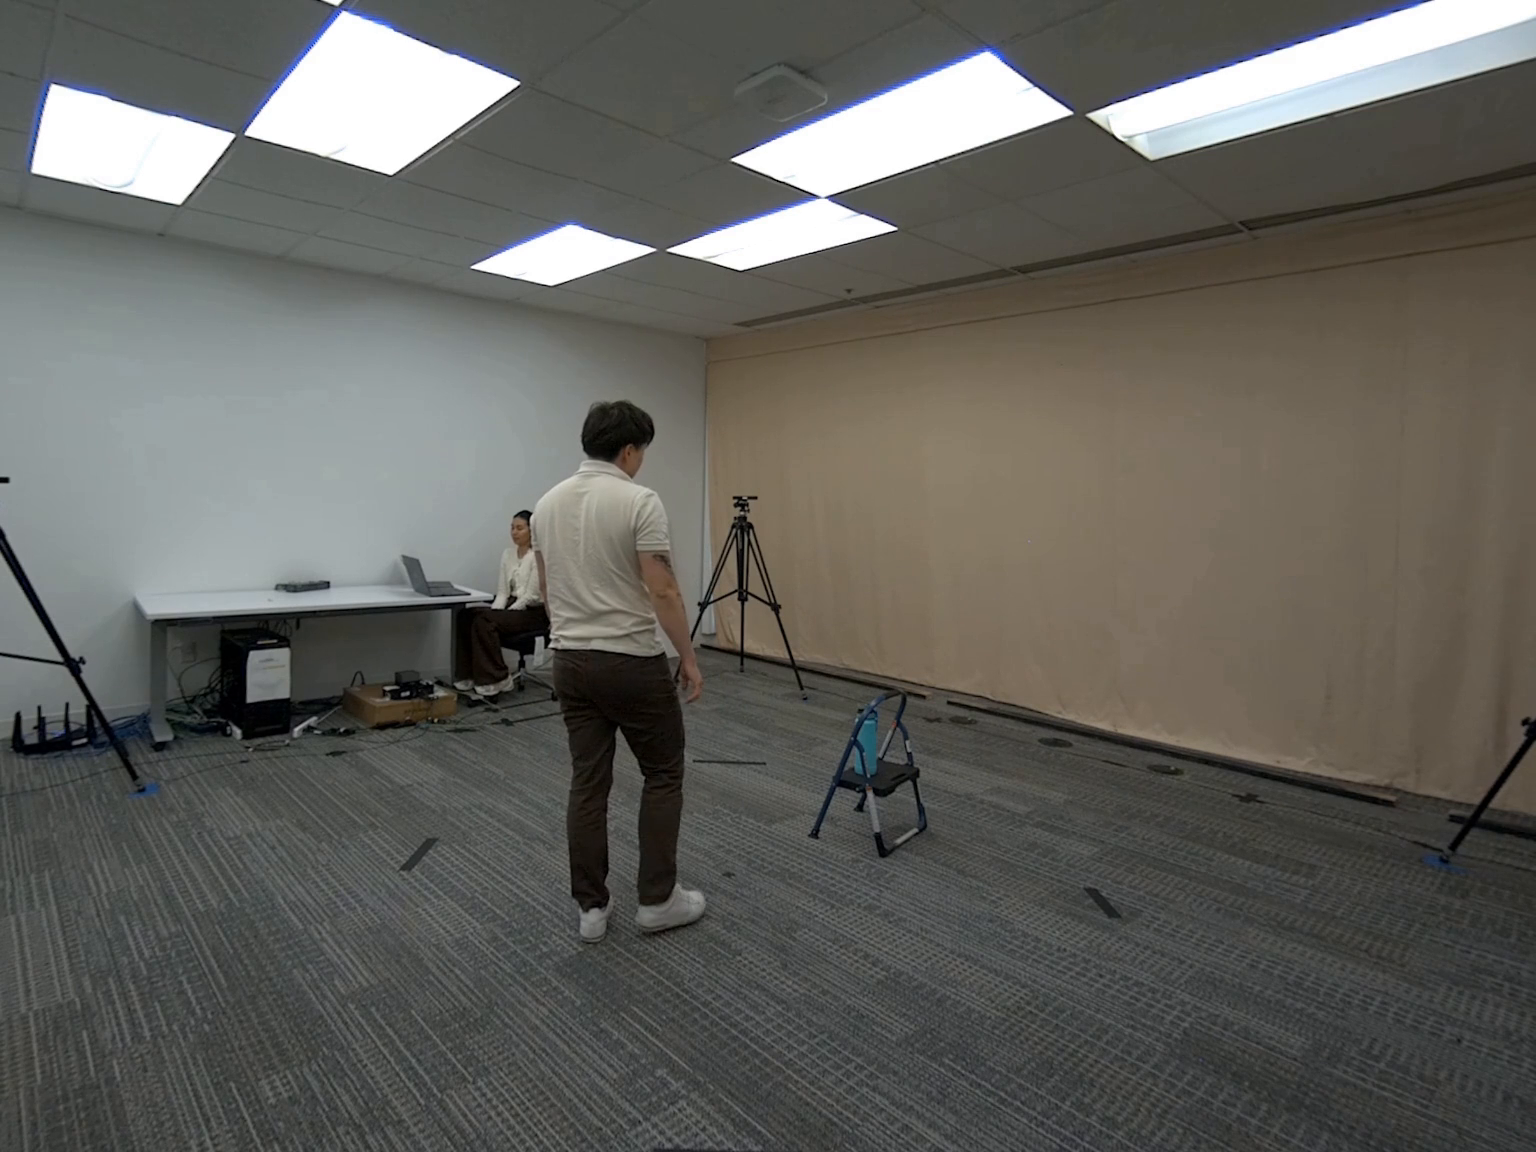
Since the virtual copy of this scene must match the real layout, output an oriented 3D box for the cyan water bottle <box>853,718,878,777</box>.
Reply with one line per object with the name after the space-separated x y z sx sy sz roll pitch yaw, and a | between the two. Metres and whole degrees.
0.406 0.679 3.505 0.092 0.282 0.092 3 4 -2 | cyan water bottle
